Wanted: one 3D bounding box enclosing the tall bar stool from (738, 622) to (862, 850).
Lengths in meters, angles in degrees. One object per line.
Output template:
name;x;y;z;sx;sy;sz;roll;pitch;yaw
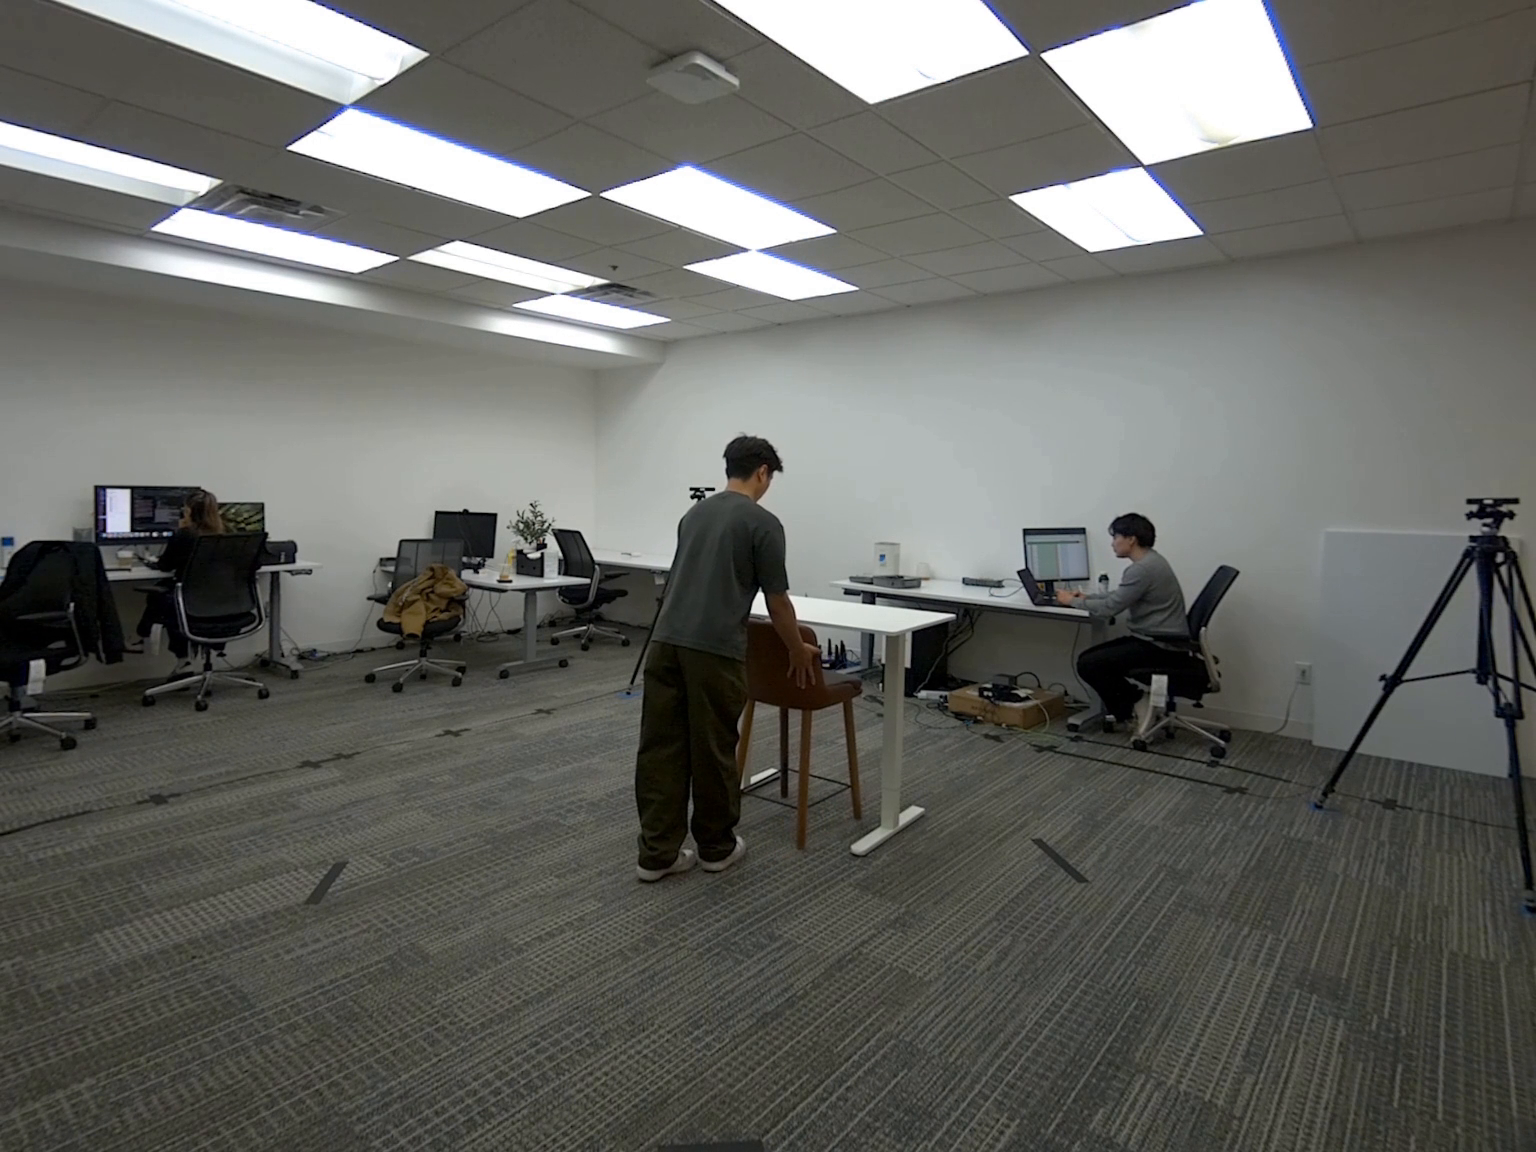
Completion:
tall bar stool;0.102;0.591;3.542;0.471;0.885;0.455;4;7;36
